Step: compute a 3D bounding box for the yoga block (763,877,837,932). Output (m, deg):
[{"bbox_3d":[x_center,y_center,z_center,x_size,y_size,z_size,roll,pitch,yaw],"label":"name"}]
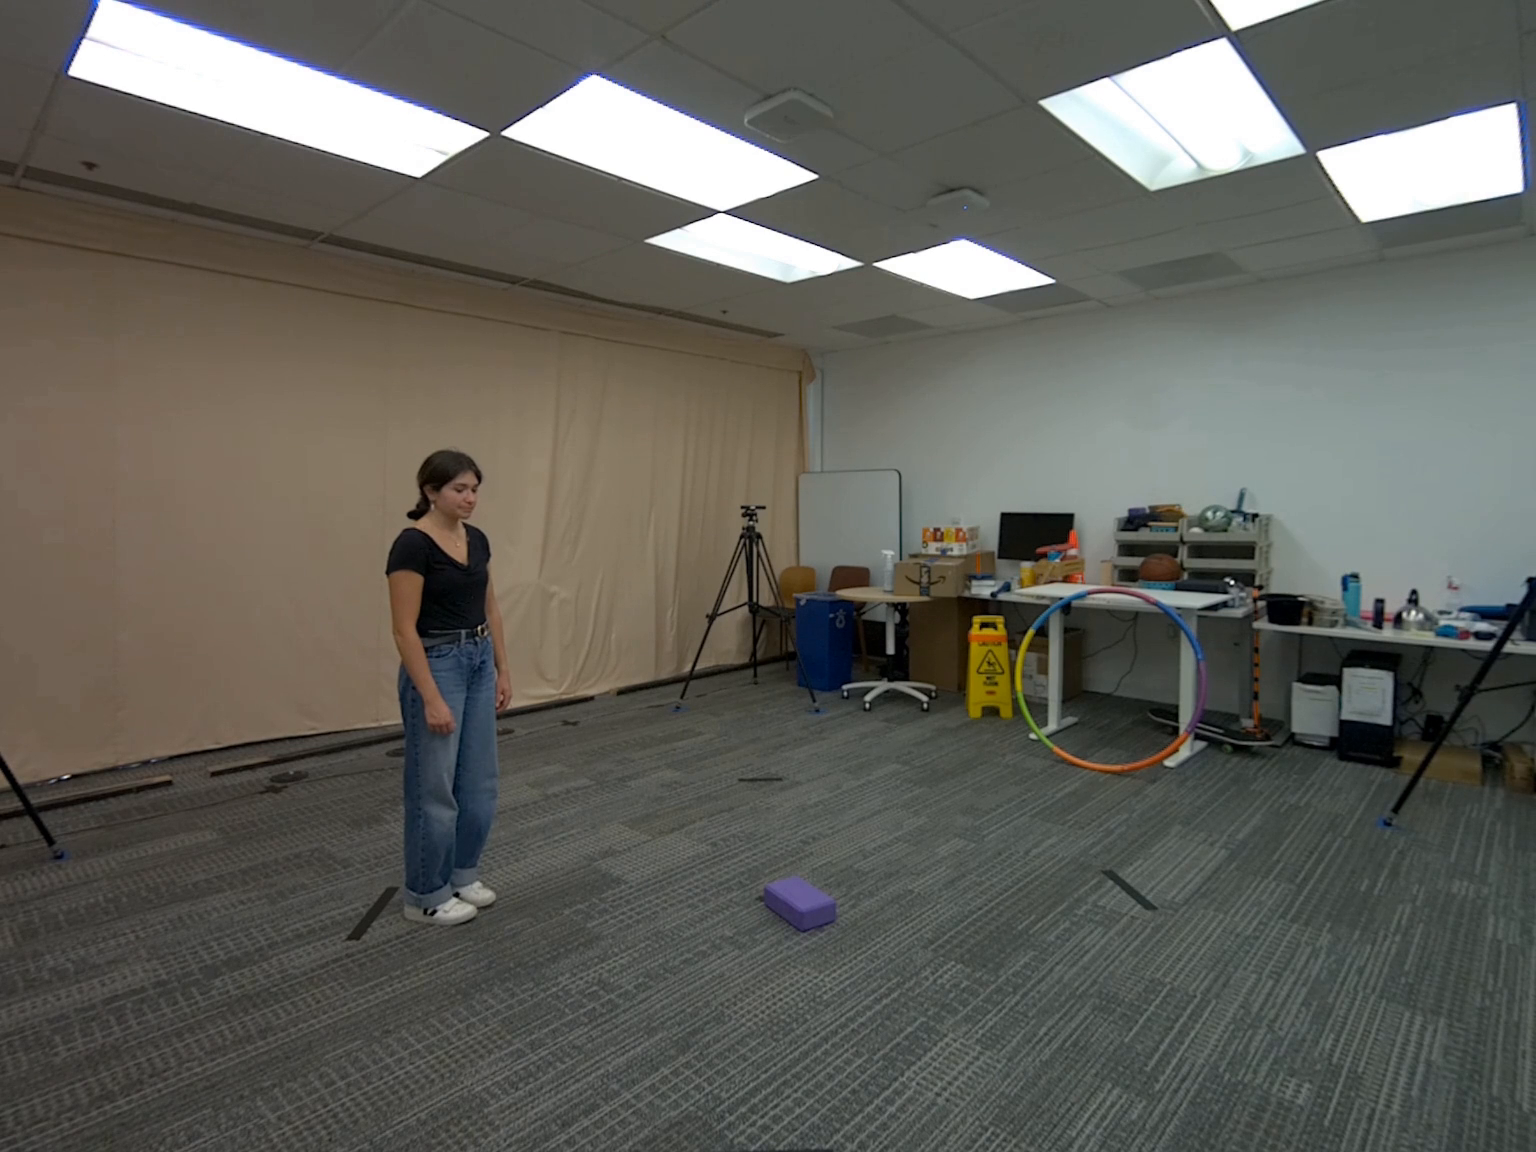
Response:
[{"bbox_3d":[0.120,1.115,2.866,0.145,0.076,0.236,-3,6,-32],"label":"yoga block"}]
